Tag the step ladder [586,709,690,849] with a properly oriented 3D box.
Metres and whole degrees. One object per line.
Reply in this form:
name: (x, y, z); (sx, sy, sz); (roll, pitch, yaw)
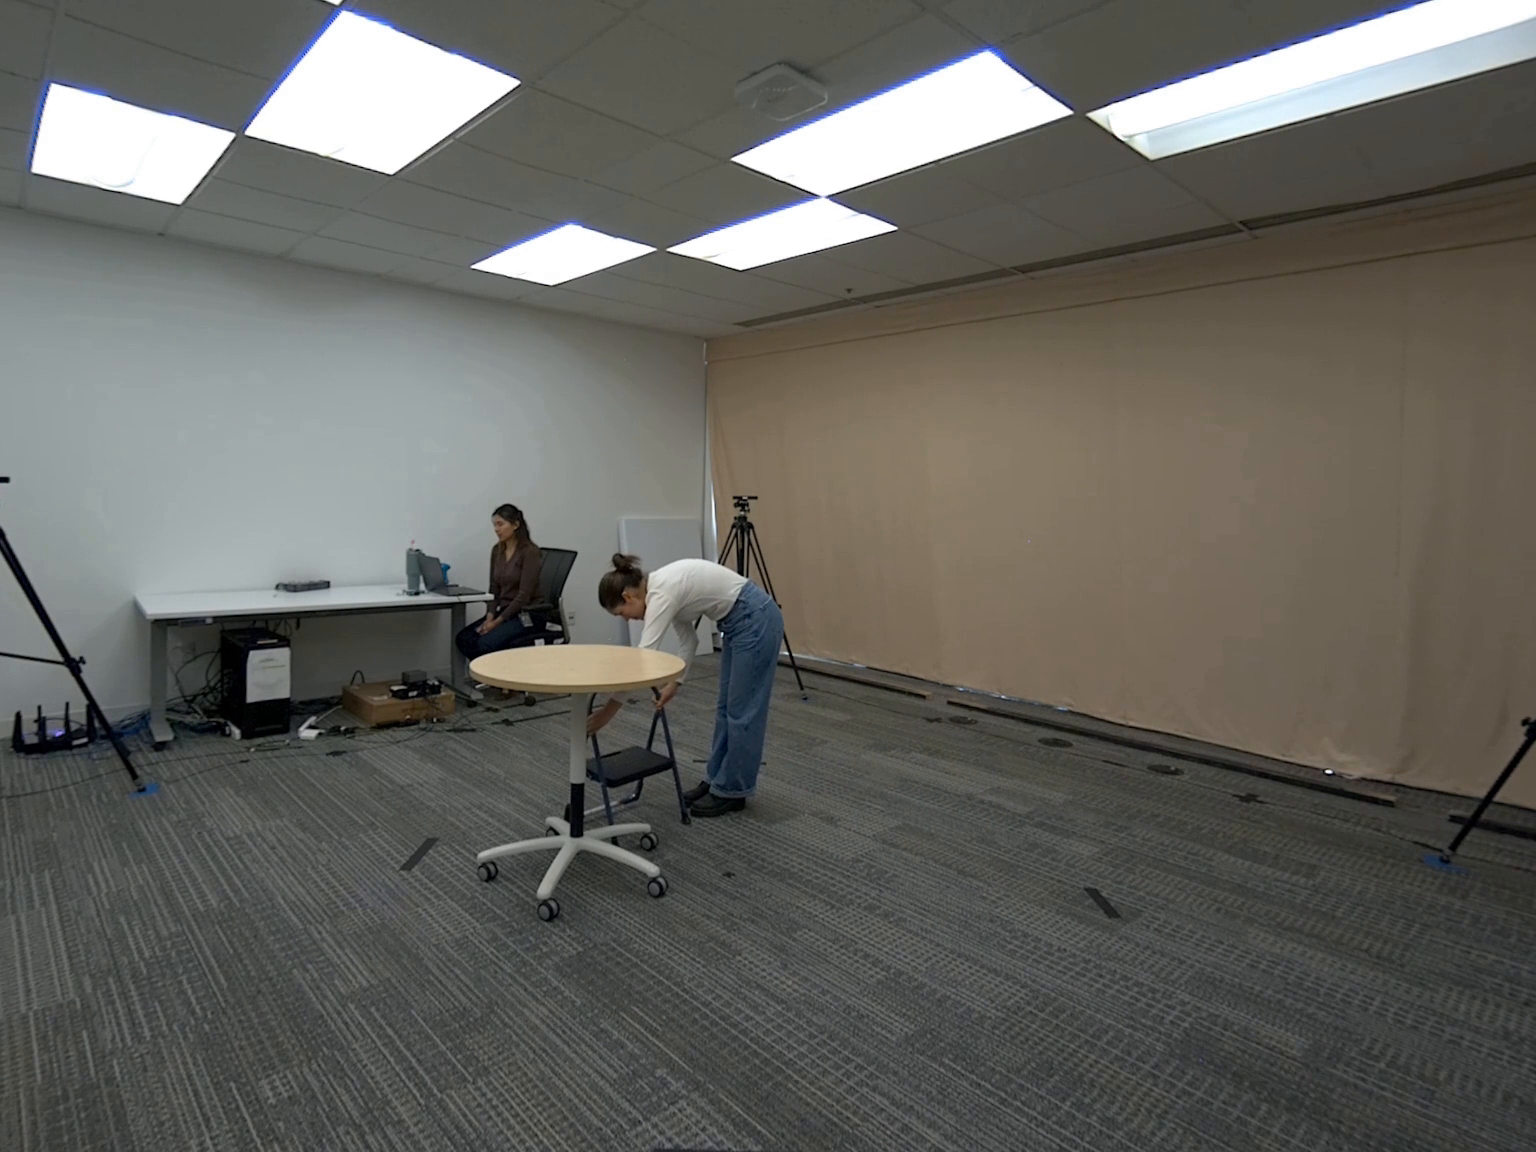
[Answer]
step ladder: (-0.579, 0.735, 3.515); (0.358, 0.603, 0.421); (7, 7, 38)
